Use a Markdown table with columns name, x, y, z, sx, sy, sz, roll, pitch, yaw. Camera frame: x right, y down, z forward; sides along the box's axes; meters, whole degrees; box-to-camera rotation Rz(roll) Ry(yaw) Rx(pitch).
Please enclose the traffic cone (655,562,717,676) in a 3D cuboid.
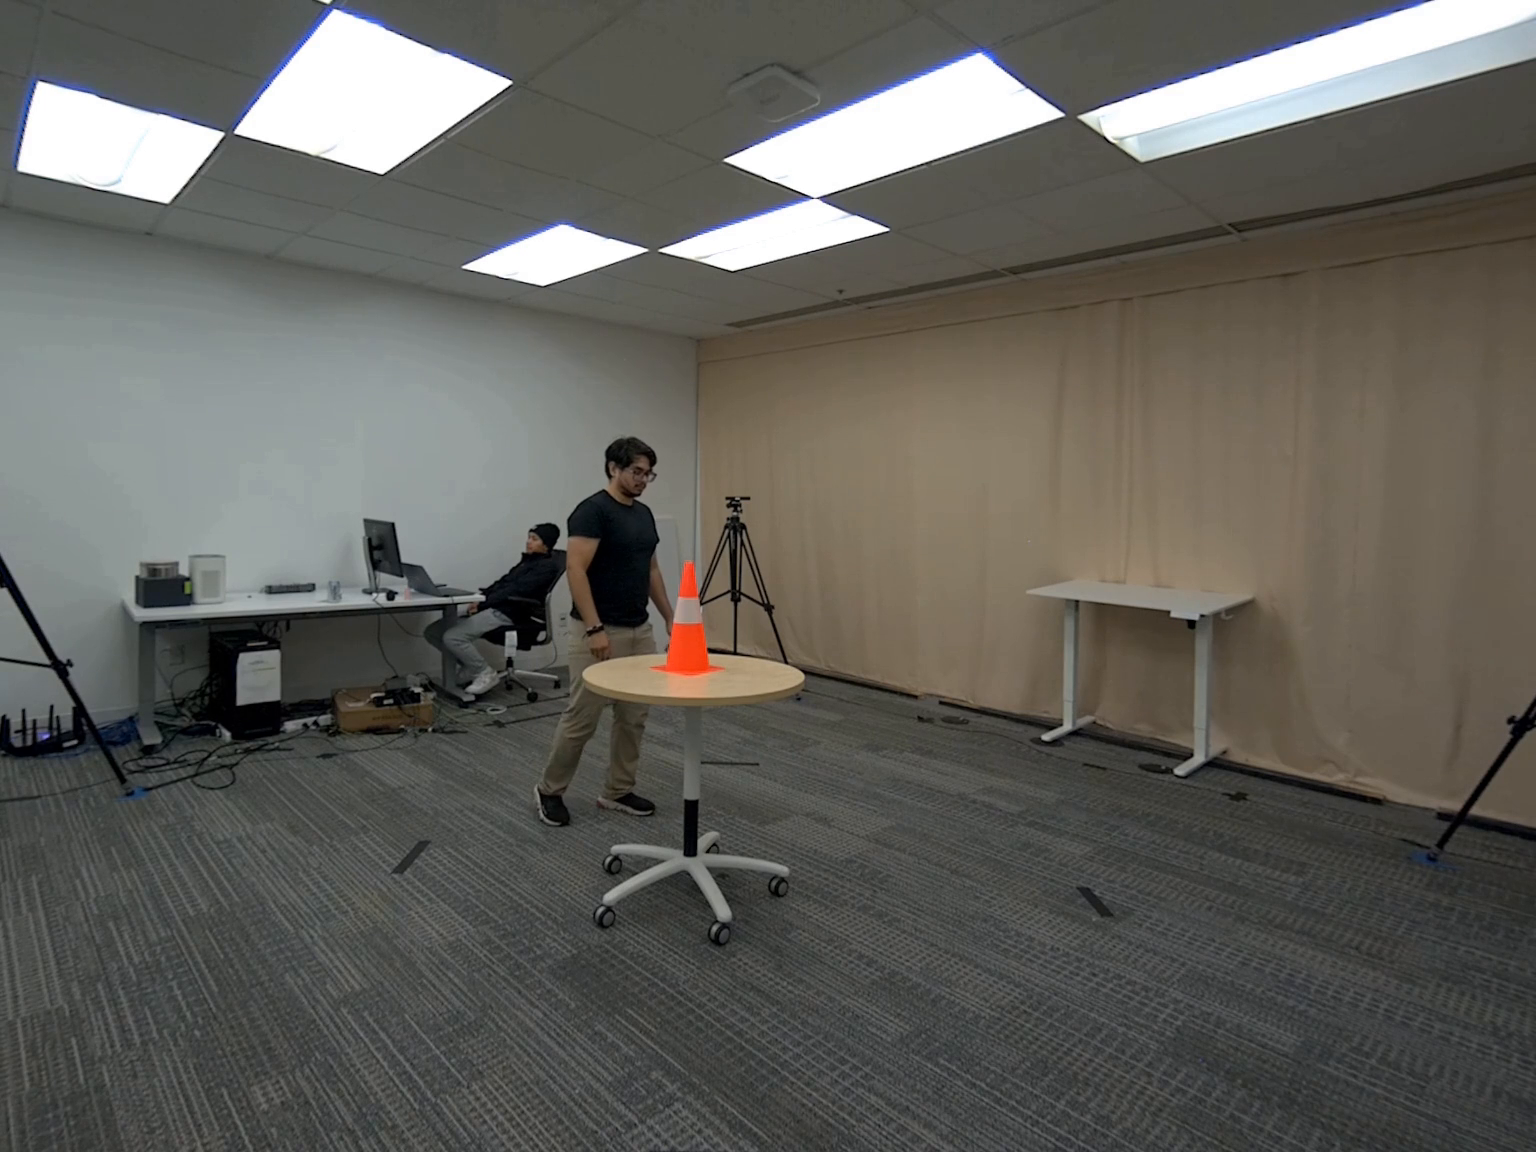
| name | x | y | z | sx | sy | sz | roll | pitch | yaw |
| --- | --- | --- | --- | --- | --- | --- | --- | --- | --- |
| traffic cone | -0.285 | 0.144 | 2.984 | 0.208 | 0.383 | 0.200 | 4 | 4 | 38 |
